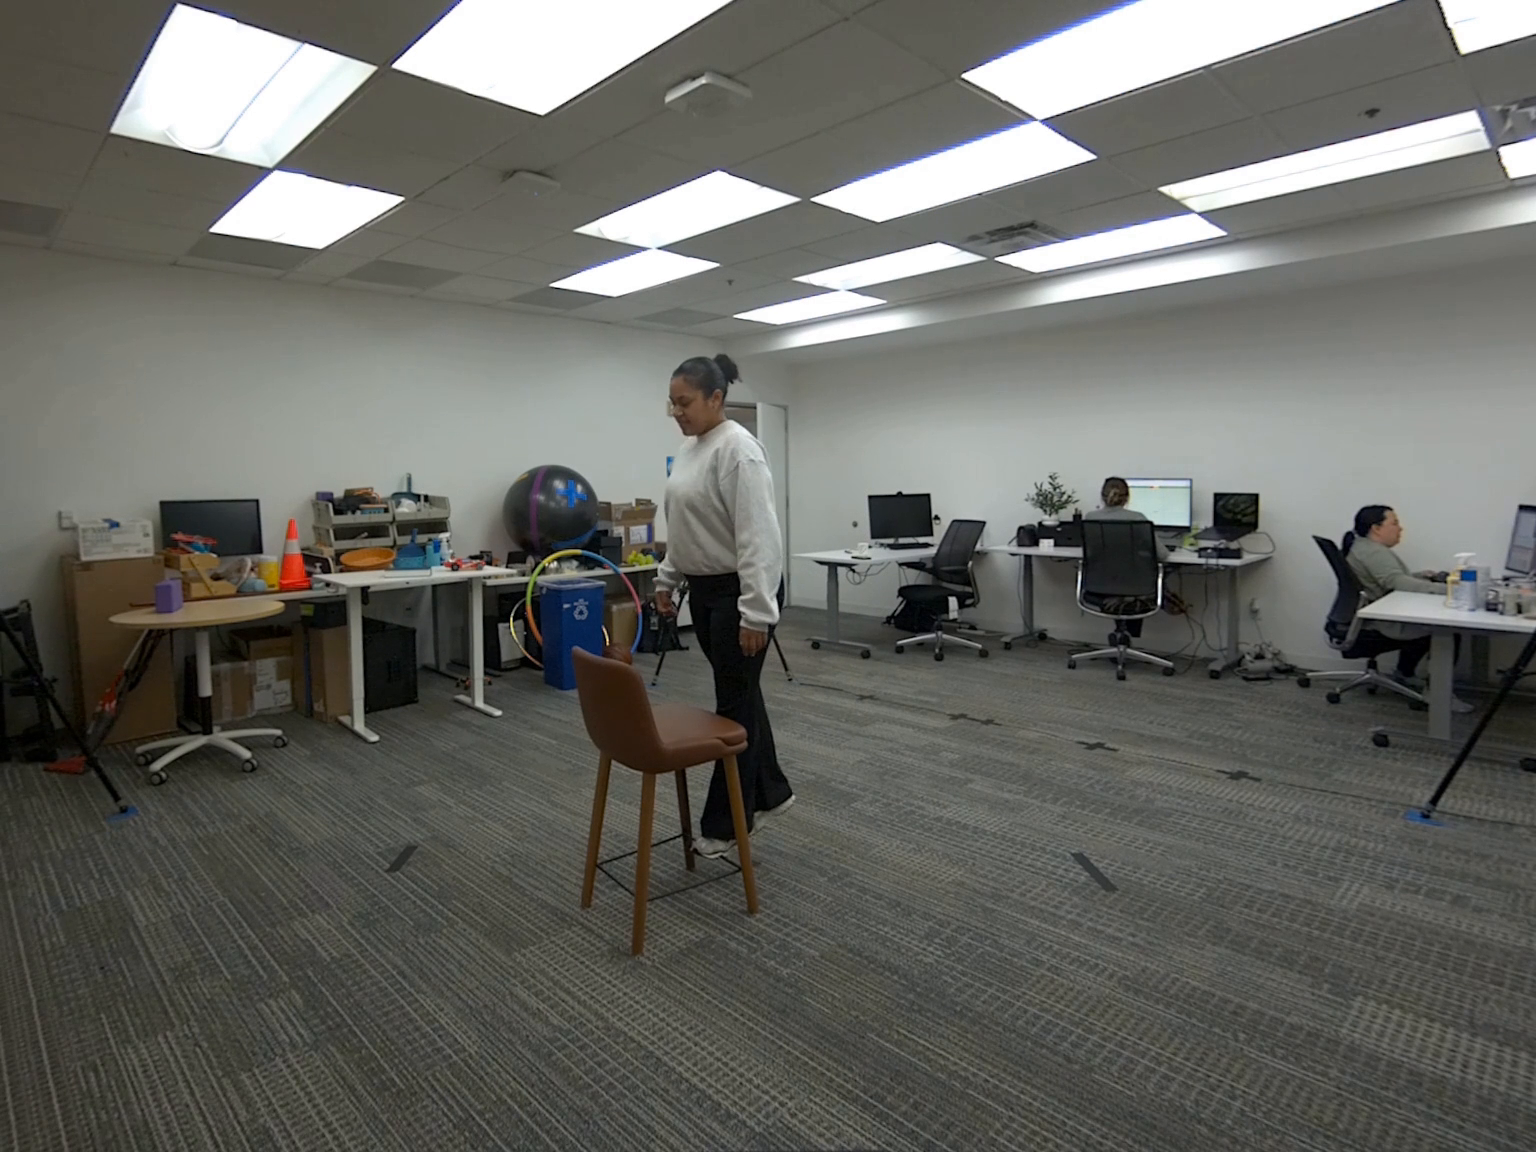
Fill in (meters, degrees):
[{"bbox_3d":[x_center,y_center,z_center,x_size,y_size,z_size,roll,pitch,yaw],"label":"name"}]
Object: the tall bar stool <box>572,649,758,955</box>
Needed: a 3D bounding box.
[{"bbox_3d":[-0.338,0.653,2.760,0.456,0.885,0.470,-6,7,-36],"label":"tall bar stool"}]
